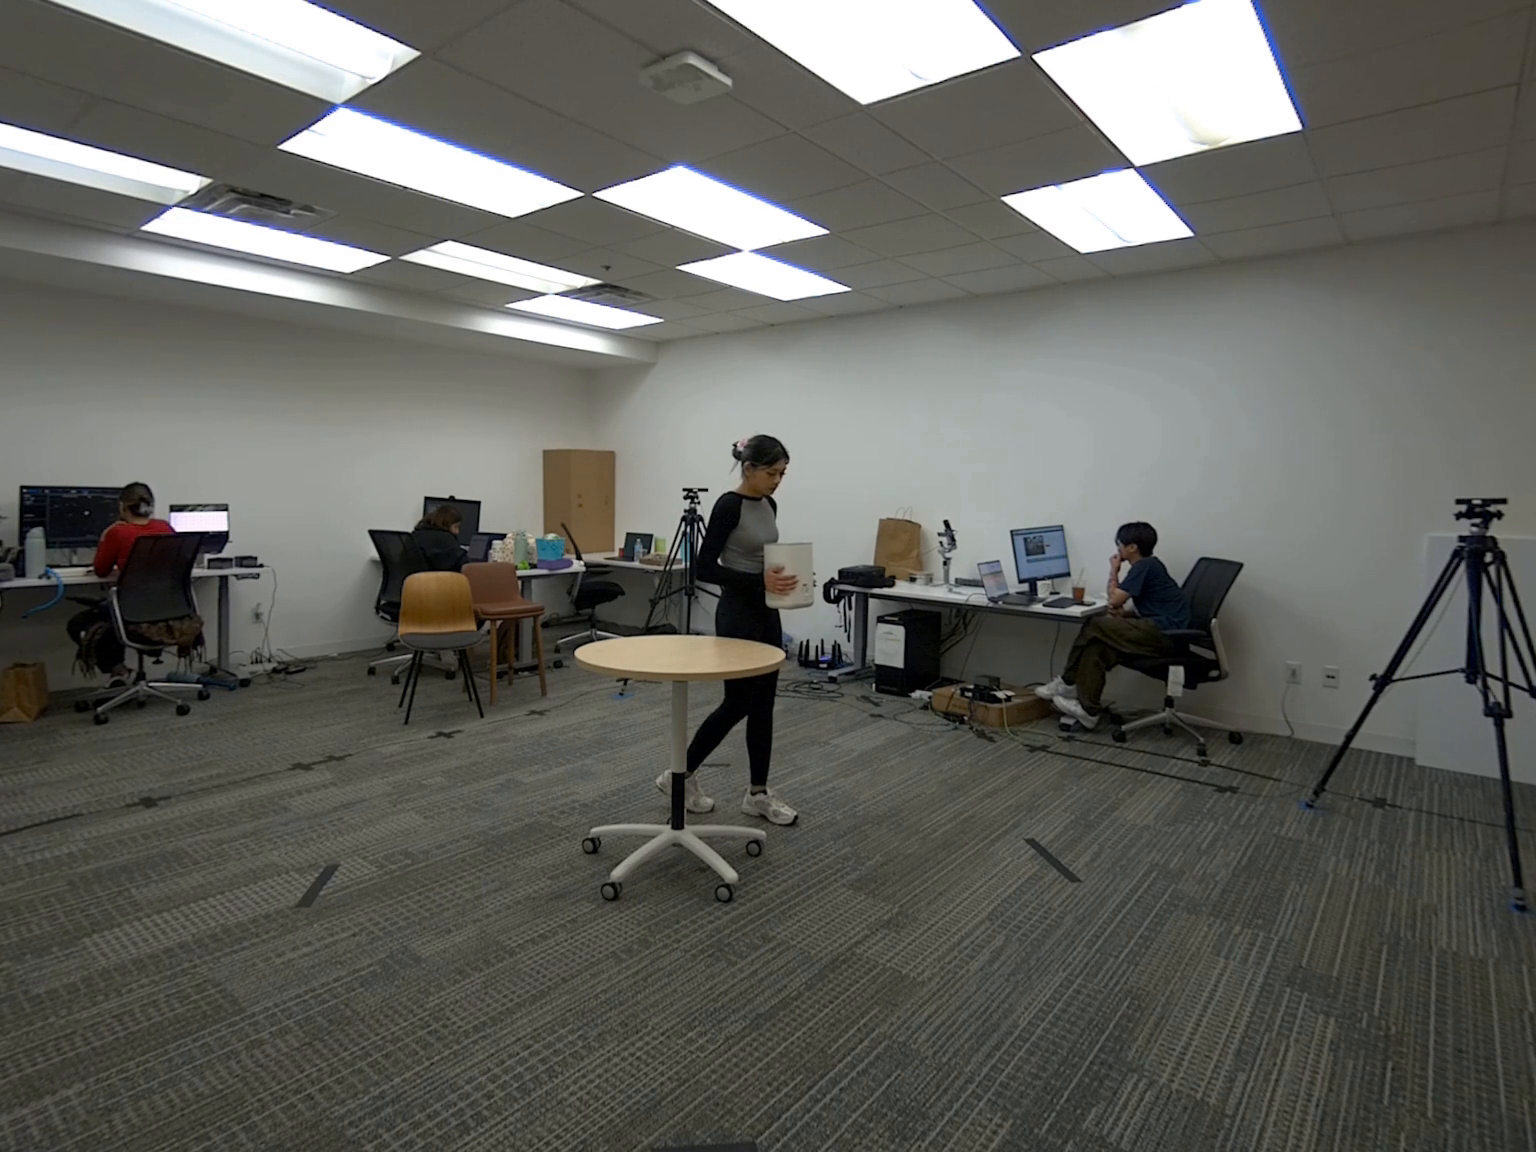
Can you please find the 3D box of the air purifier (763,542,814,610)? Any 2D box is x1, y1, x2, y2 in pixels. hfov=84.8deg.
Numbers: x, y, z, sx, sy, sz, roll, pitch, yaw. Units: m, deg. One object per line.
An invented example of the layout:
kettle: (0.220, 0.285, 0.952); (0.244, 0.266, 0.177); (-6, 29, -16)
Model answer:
air purifier: (0.069, -0.004, 3.492); (0.177, 0.265, 0.166); (-2, 0, 41)
